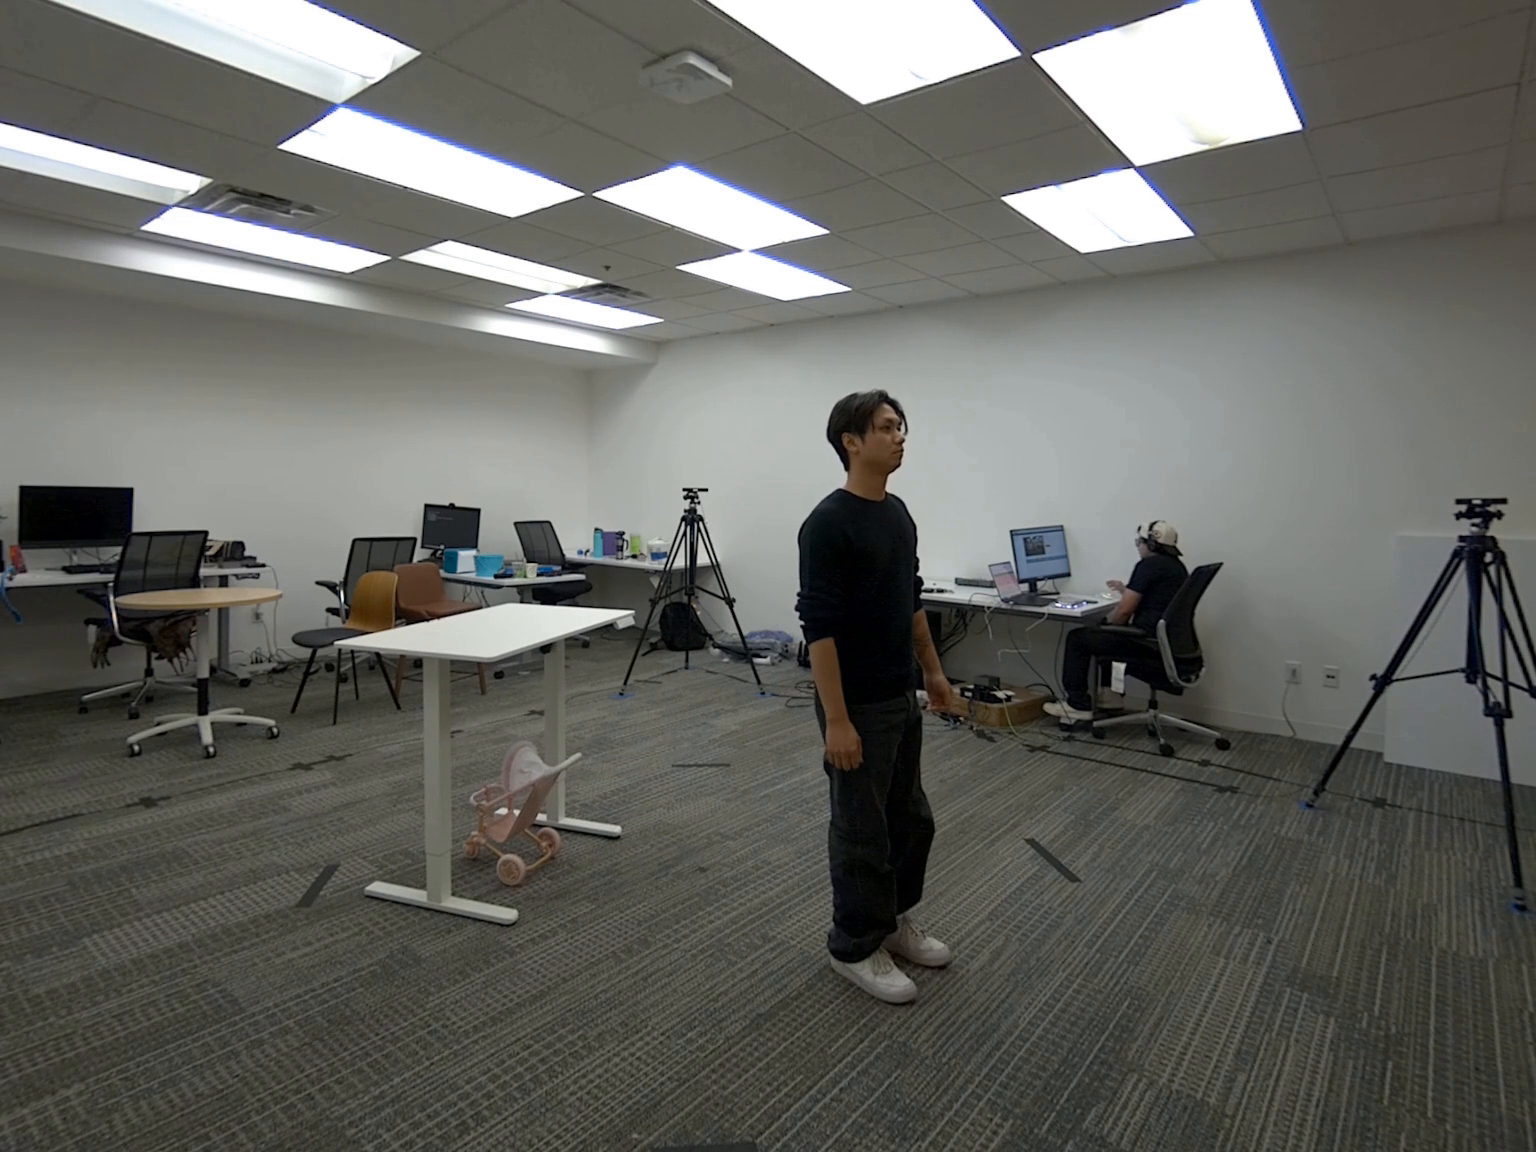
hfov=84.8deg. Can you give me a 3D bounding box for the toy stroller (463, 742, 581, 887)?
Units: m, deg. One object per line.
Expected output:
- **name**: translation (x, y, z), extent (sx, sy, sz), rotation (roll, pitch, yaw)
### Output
- **toy stroller**: translation (-0.929, 0.839, 3.088), extent (0.351, 0.532, 0.275), rotation (20, 10, 20)
